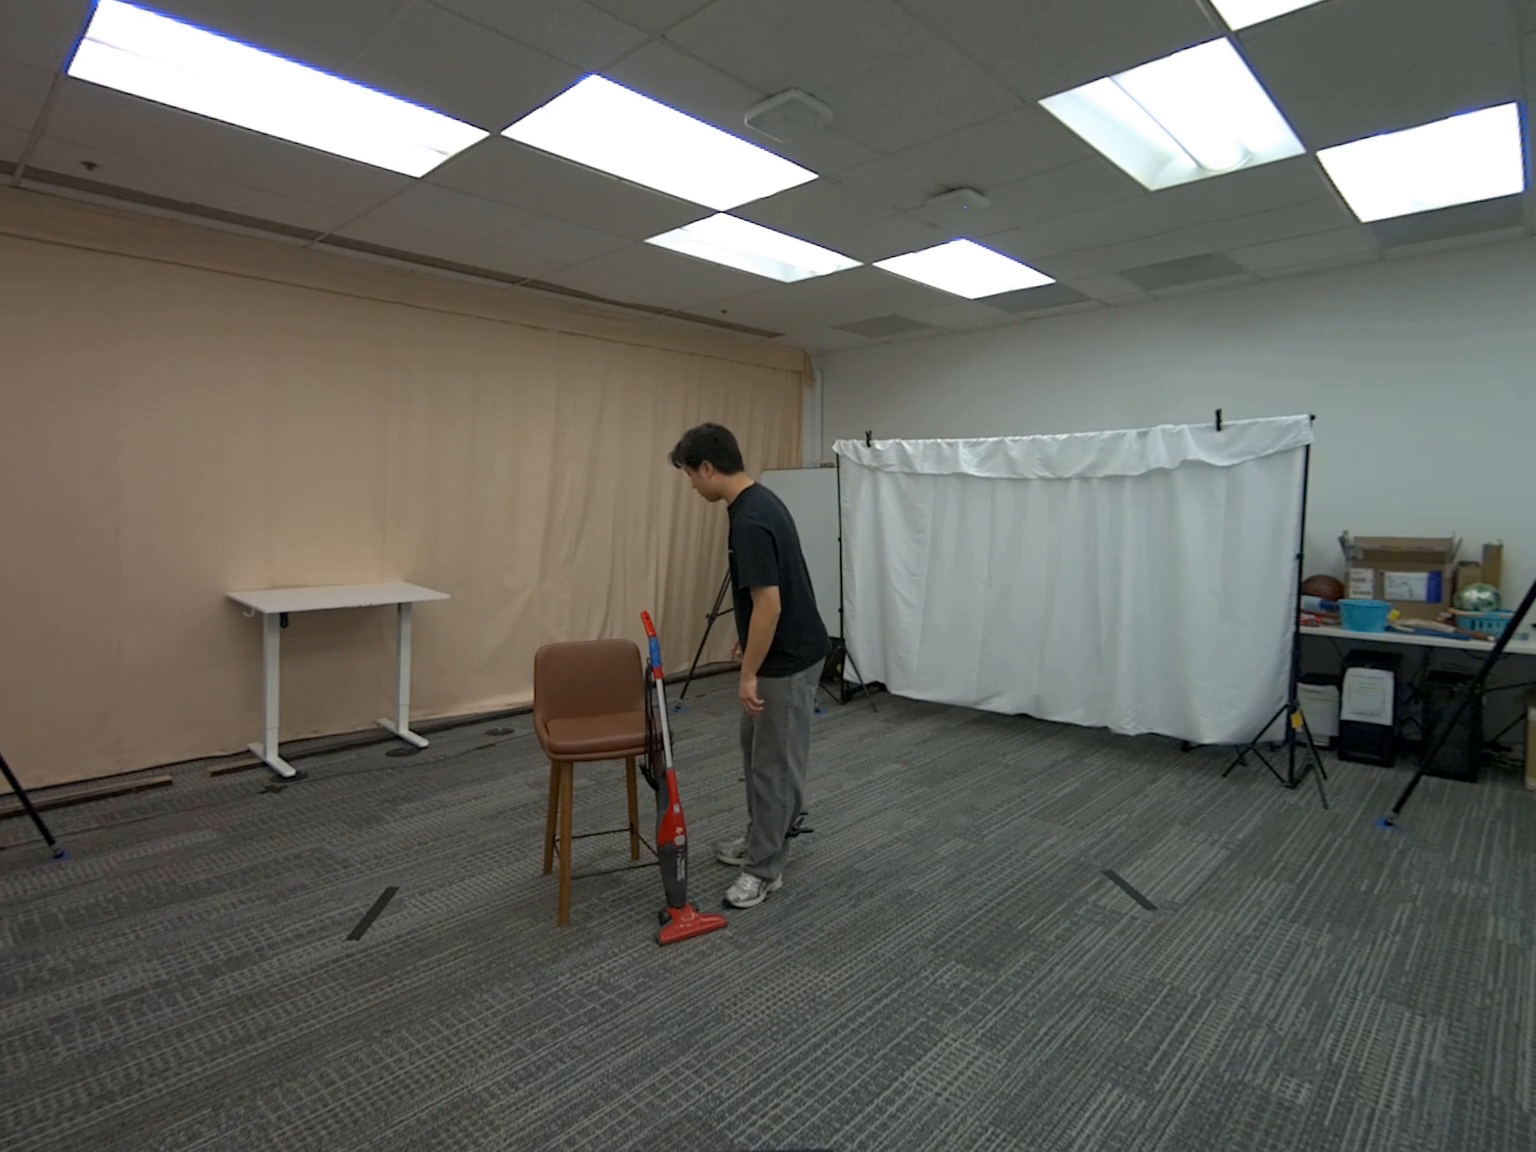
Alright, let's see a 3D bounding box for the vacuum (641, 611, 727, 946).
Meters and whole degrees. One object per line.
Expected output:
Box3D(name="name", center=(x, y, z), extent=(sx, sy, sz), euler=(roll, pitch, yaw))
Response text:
Box3D(name="vacuum", center=(-0.352, 0.644, 2.867), extent=(0.245, 1.056, 0.147), euler=(-2, -10, -38))
